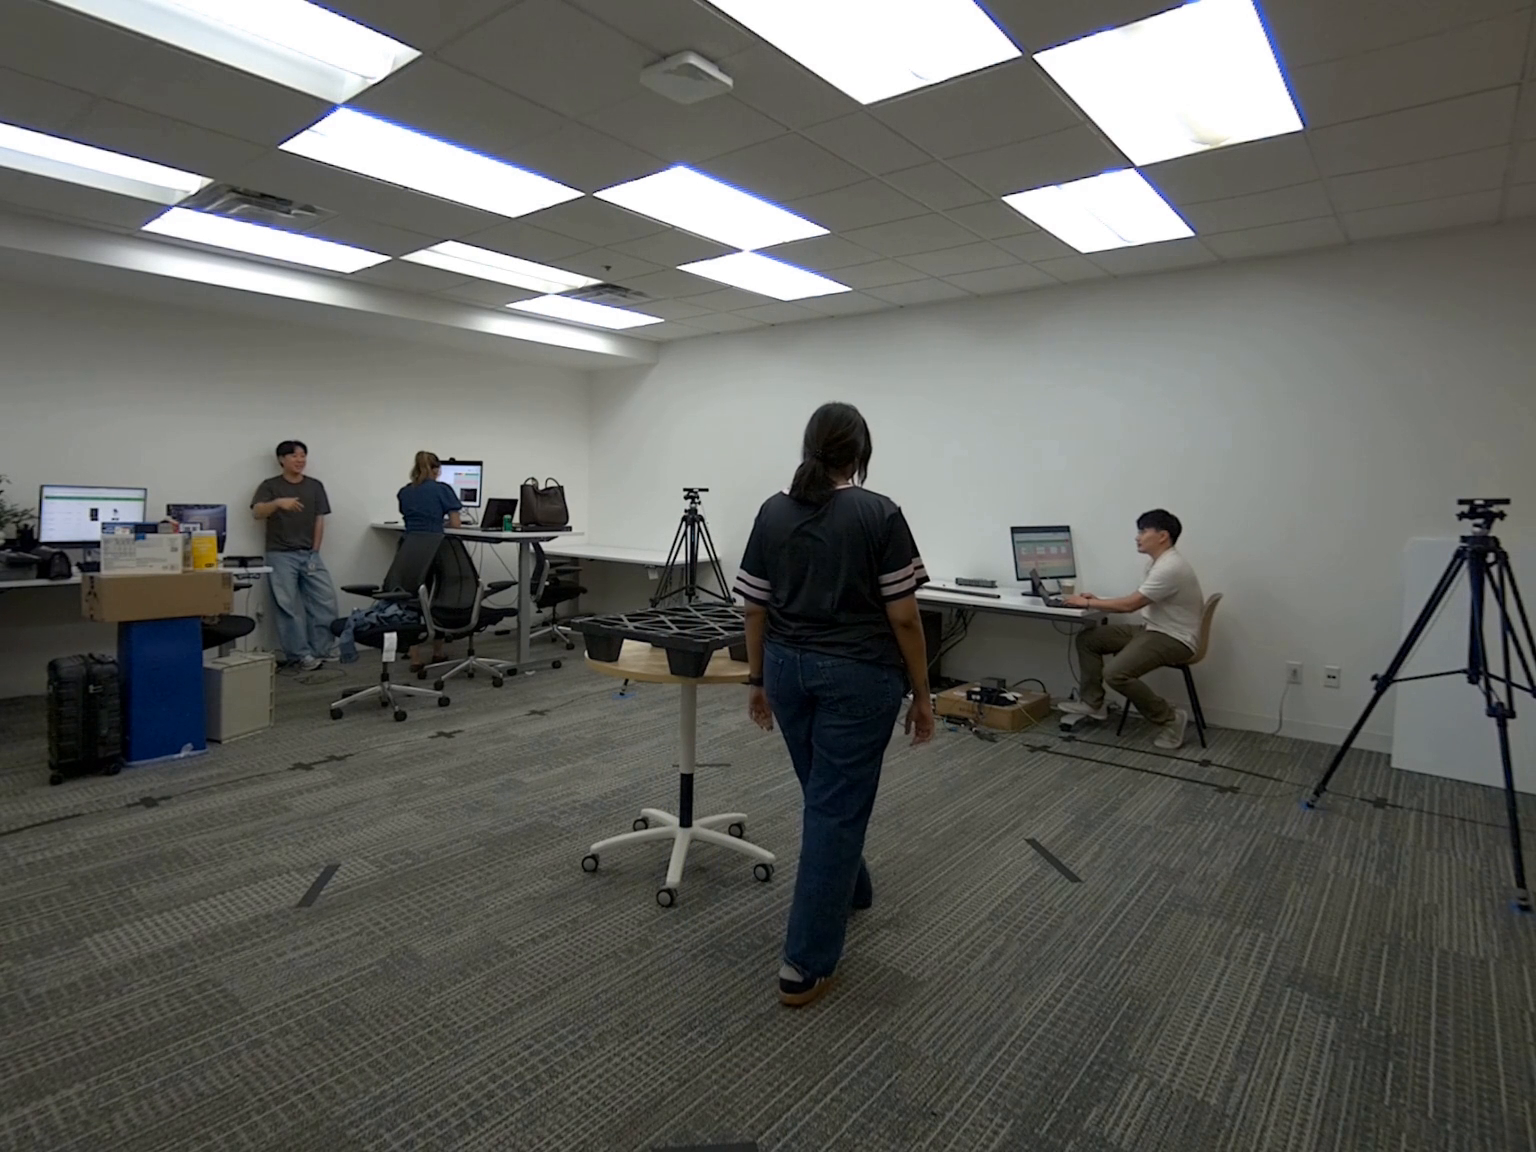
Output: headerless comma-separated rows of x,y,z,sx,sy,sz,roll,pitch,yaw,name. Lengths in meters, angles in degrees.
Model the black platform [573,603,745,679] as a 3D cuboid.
-0.239,0.221,3.128,0.625,0.143,0.783,6,7,34,black platform
